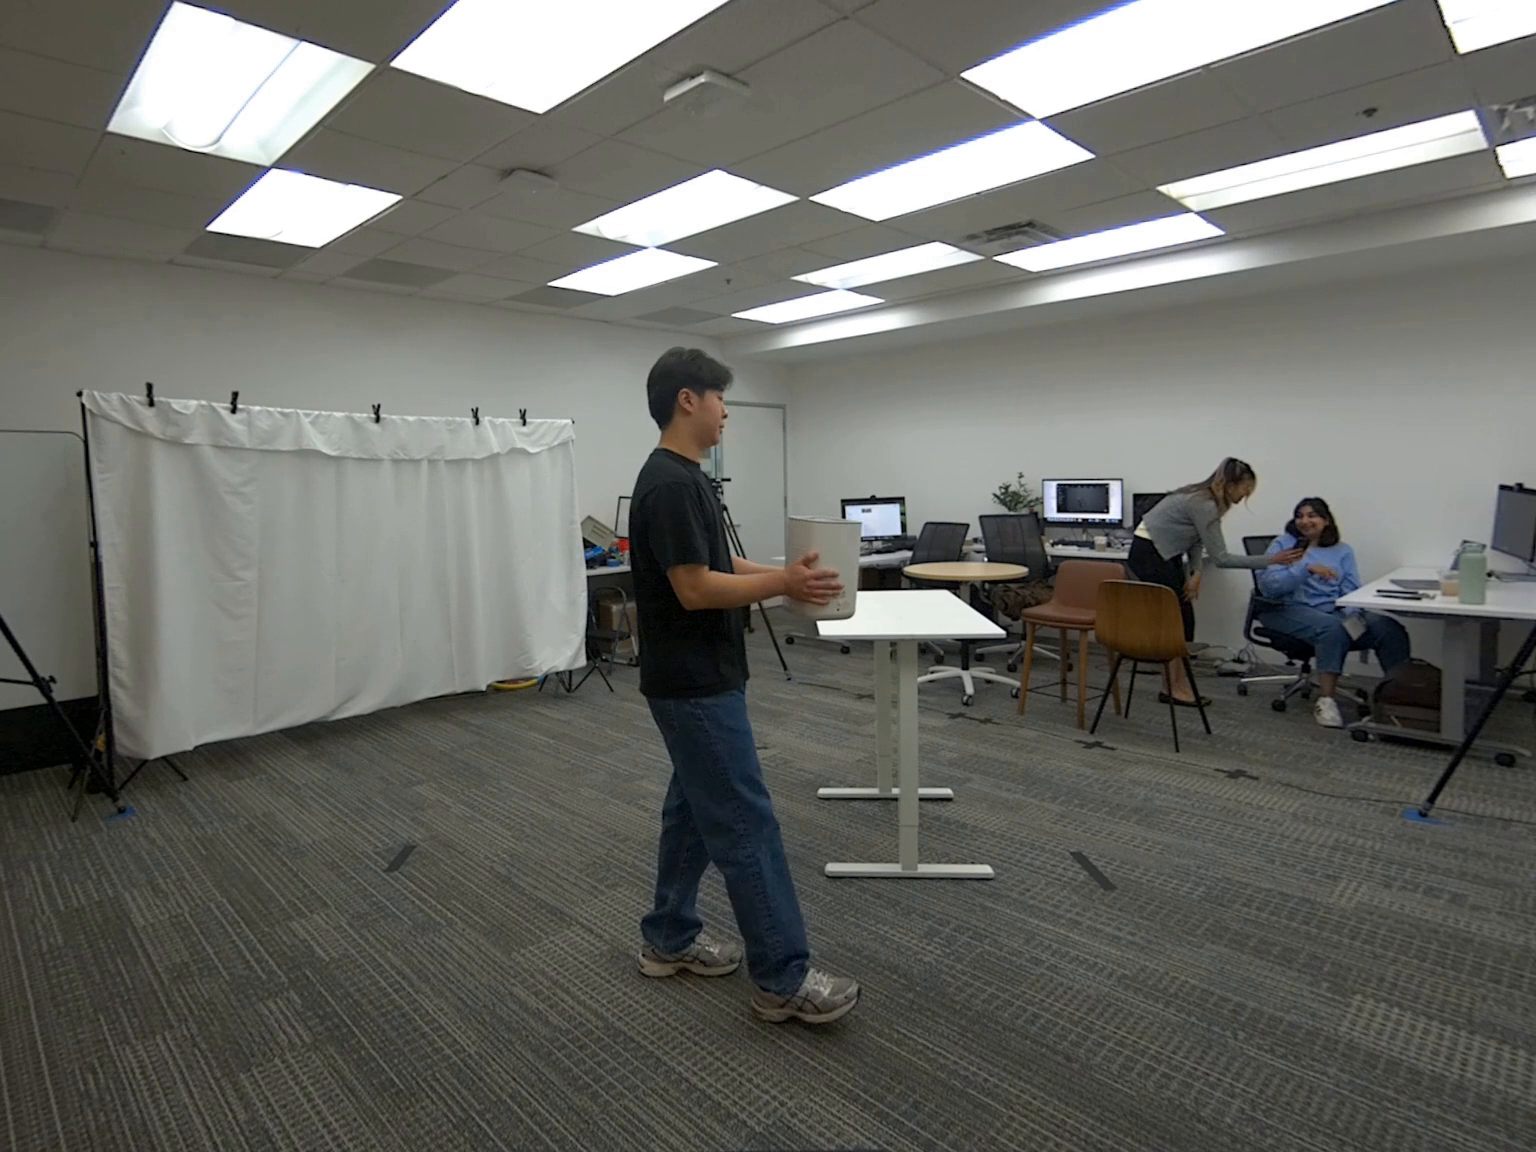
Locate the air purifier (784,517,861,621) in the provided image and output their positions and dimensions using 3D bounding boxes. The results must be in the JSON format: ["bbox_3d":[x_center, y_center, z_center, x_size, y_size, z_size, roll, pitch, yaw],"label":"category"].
[{"bbox_3d":[0.146,-0.023,2.293,0.167,0.264,0.177,0,7,-32],"label":"air purifier"}]
